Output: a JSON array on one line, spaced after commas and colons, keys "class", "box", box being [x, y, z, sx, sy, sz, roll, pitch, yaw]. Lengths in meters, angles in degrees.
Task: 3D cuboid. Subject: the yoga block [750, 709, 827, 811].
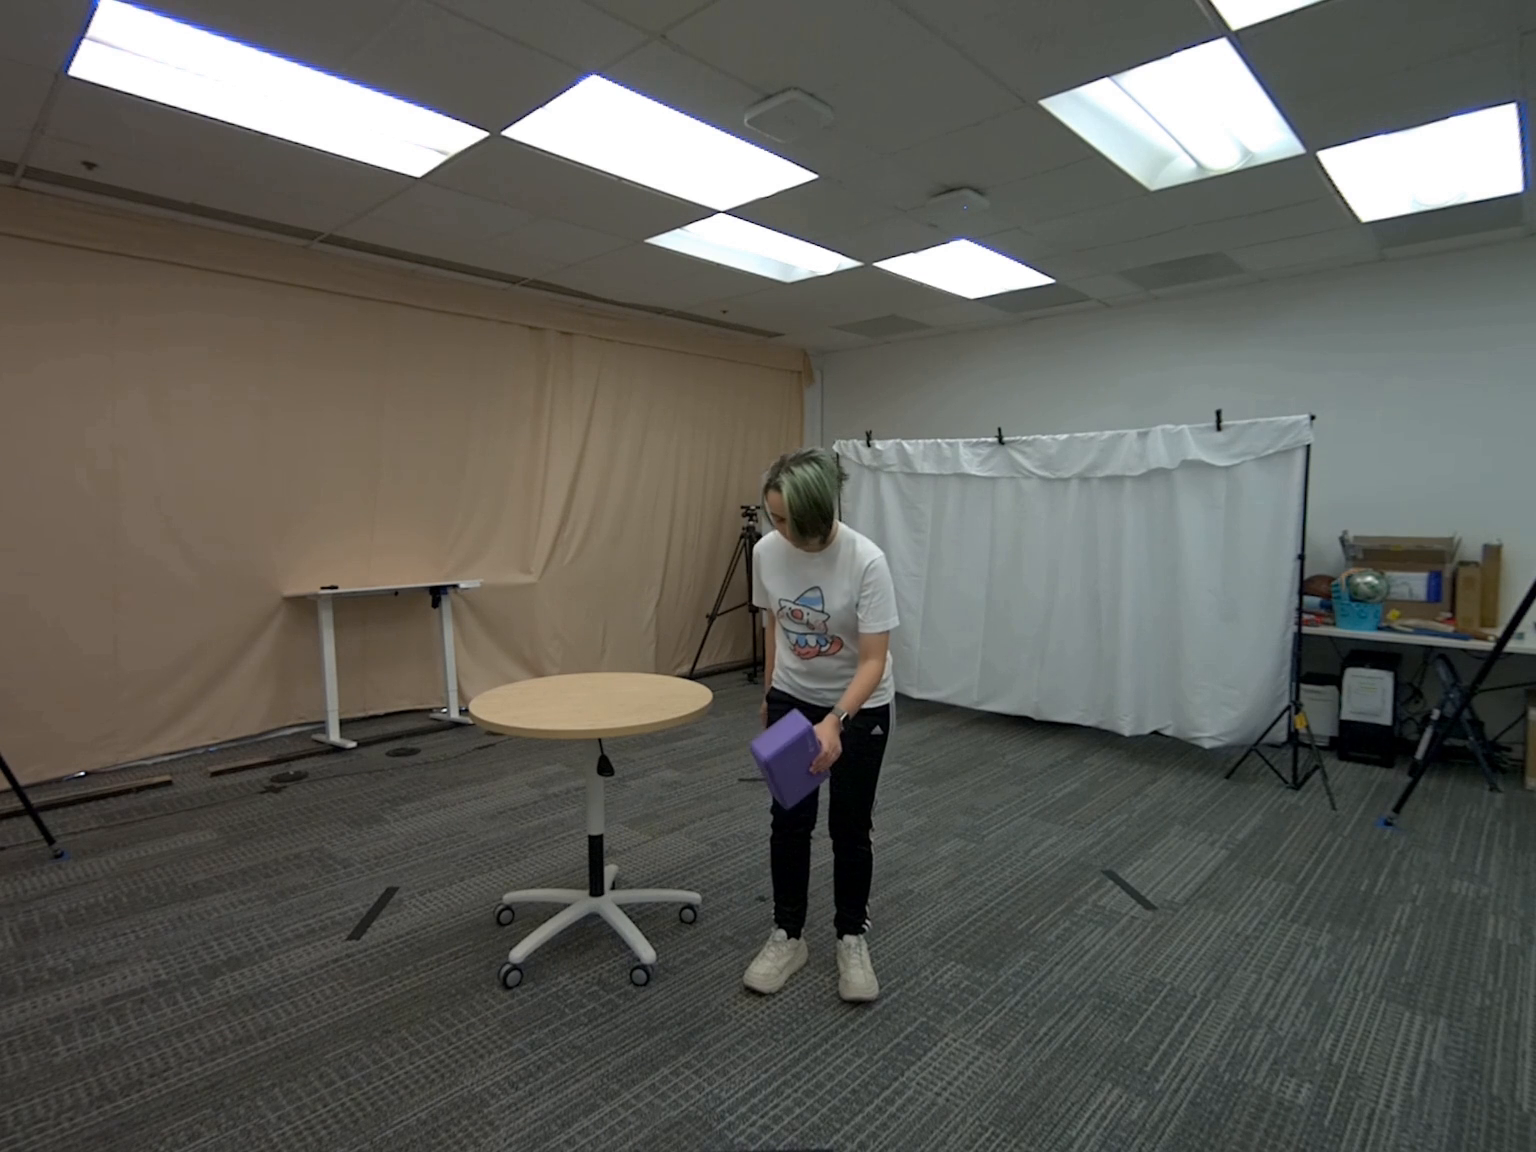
[{"class": "yoga block", "box": [0.059, 0.458, 2.052, 0.148, 0.222, 0.079, -35, 43, -13]}]
